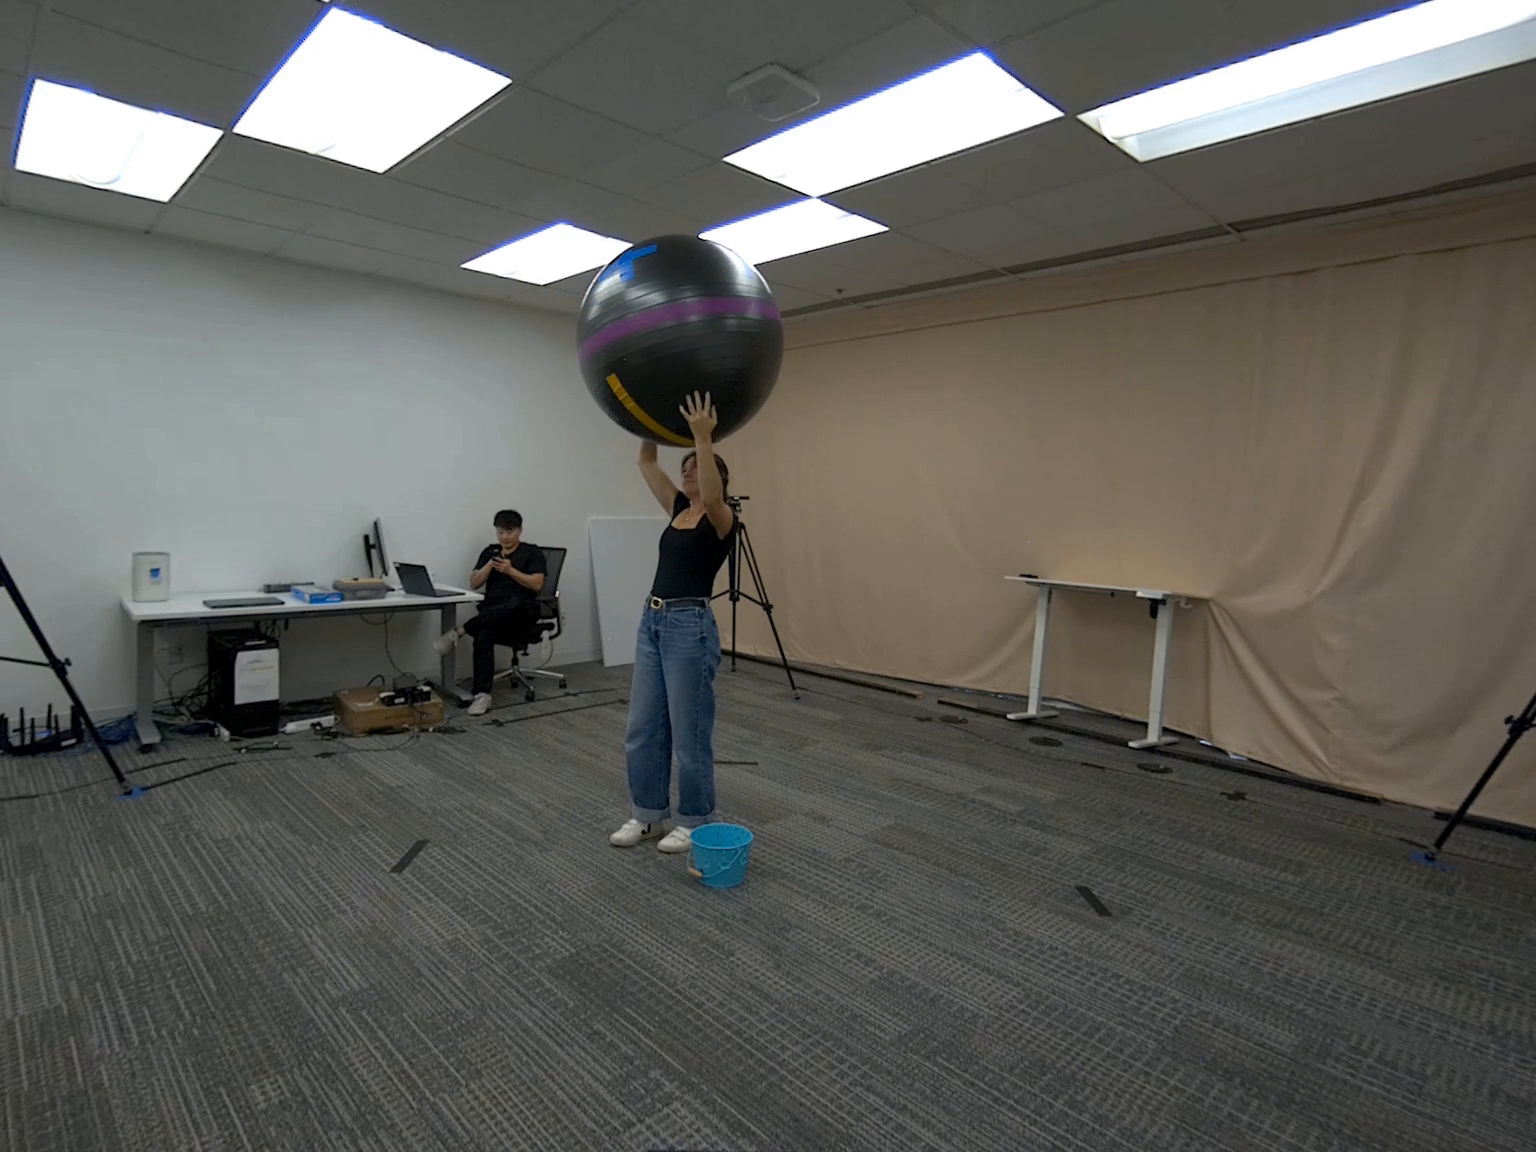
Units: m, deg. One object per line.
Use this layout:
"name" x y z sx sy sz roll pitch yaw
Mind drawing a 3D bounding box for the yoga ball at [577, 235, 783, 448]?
"yoga ball" -0.329 -0.853 3.099 0.757 0.756 0.761 1 4 -1
